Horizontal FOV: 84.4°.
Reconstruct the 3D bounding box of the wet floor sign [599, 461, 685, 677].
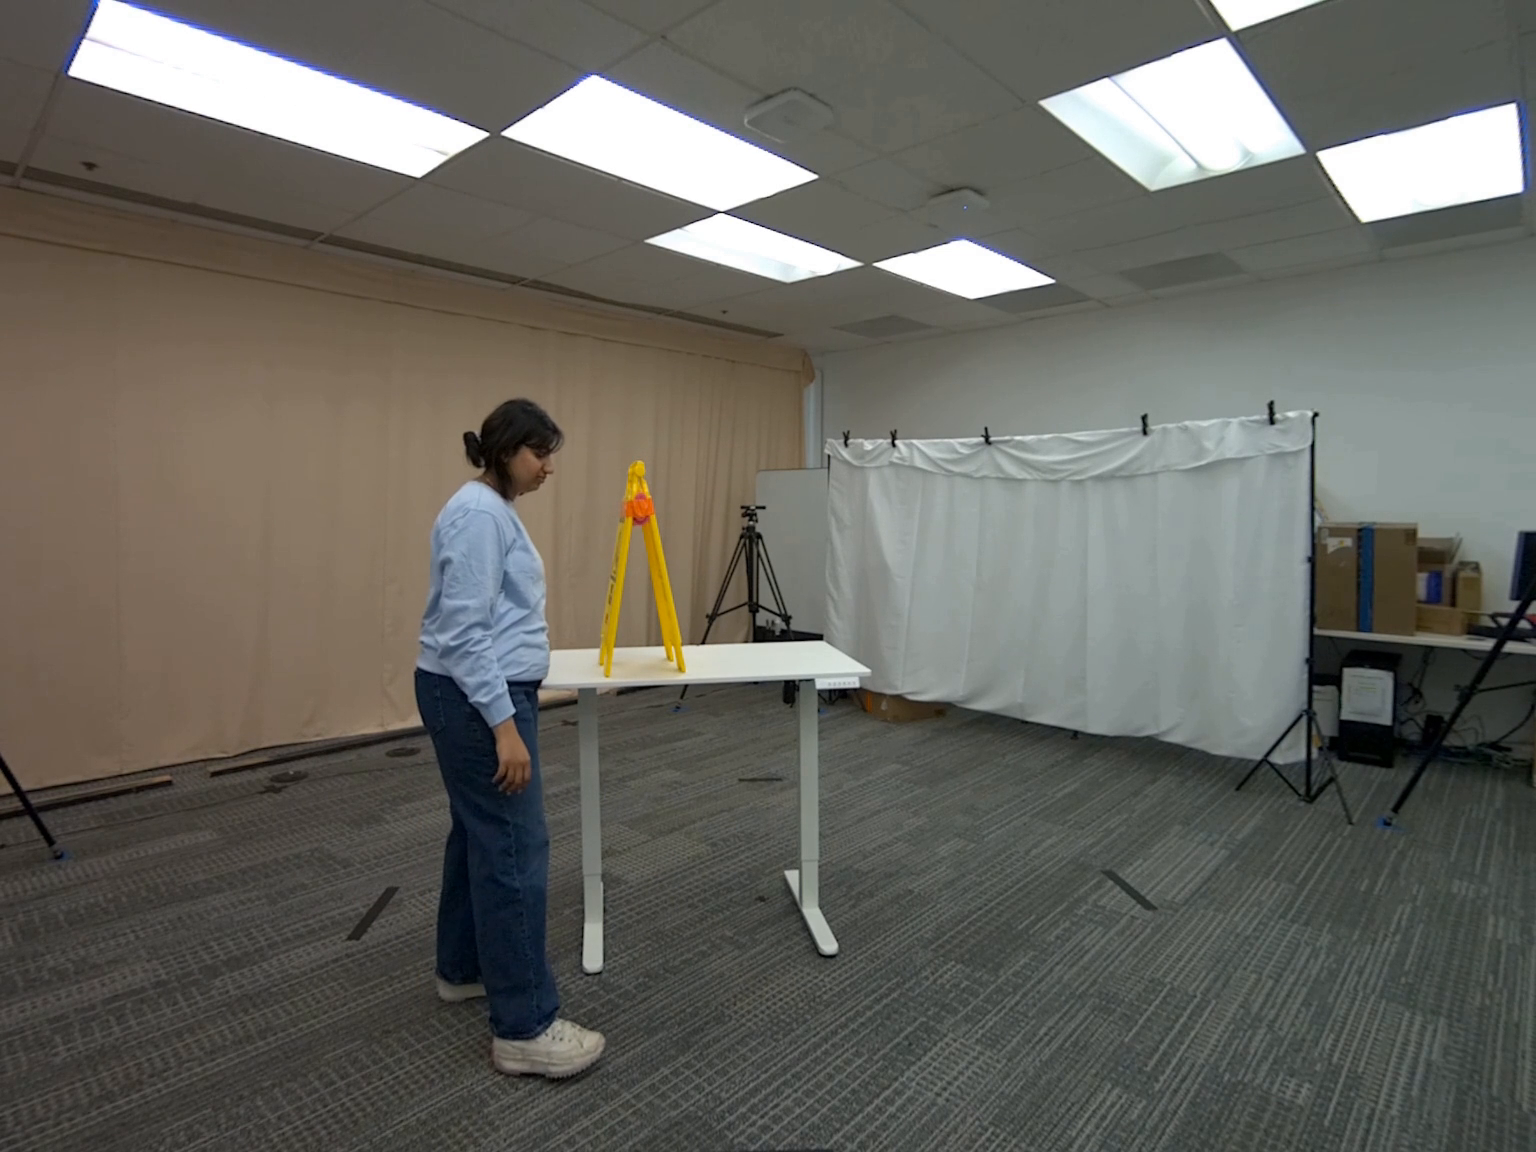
[{"bbox_3d":[-0.409,-0.032,2.669,0.286,0.645,0.287,-1,3,-14],"label":"wet floor sign"}]
